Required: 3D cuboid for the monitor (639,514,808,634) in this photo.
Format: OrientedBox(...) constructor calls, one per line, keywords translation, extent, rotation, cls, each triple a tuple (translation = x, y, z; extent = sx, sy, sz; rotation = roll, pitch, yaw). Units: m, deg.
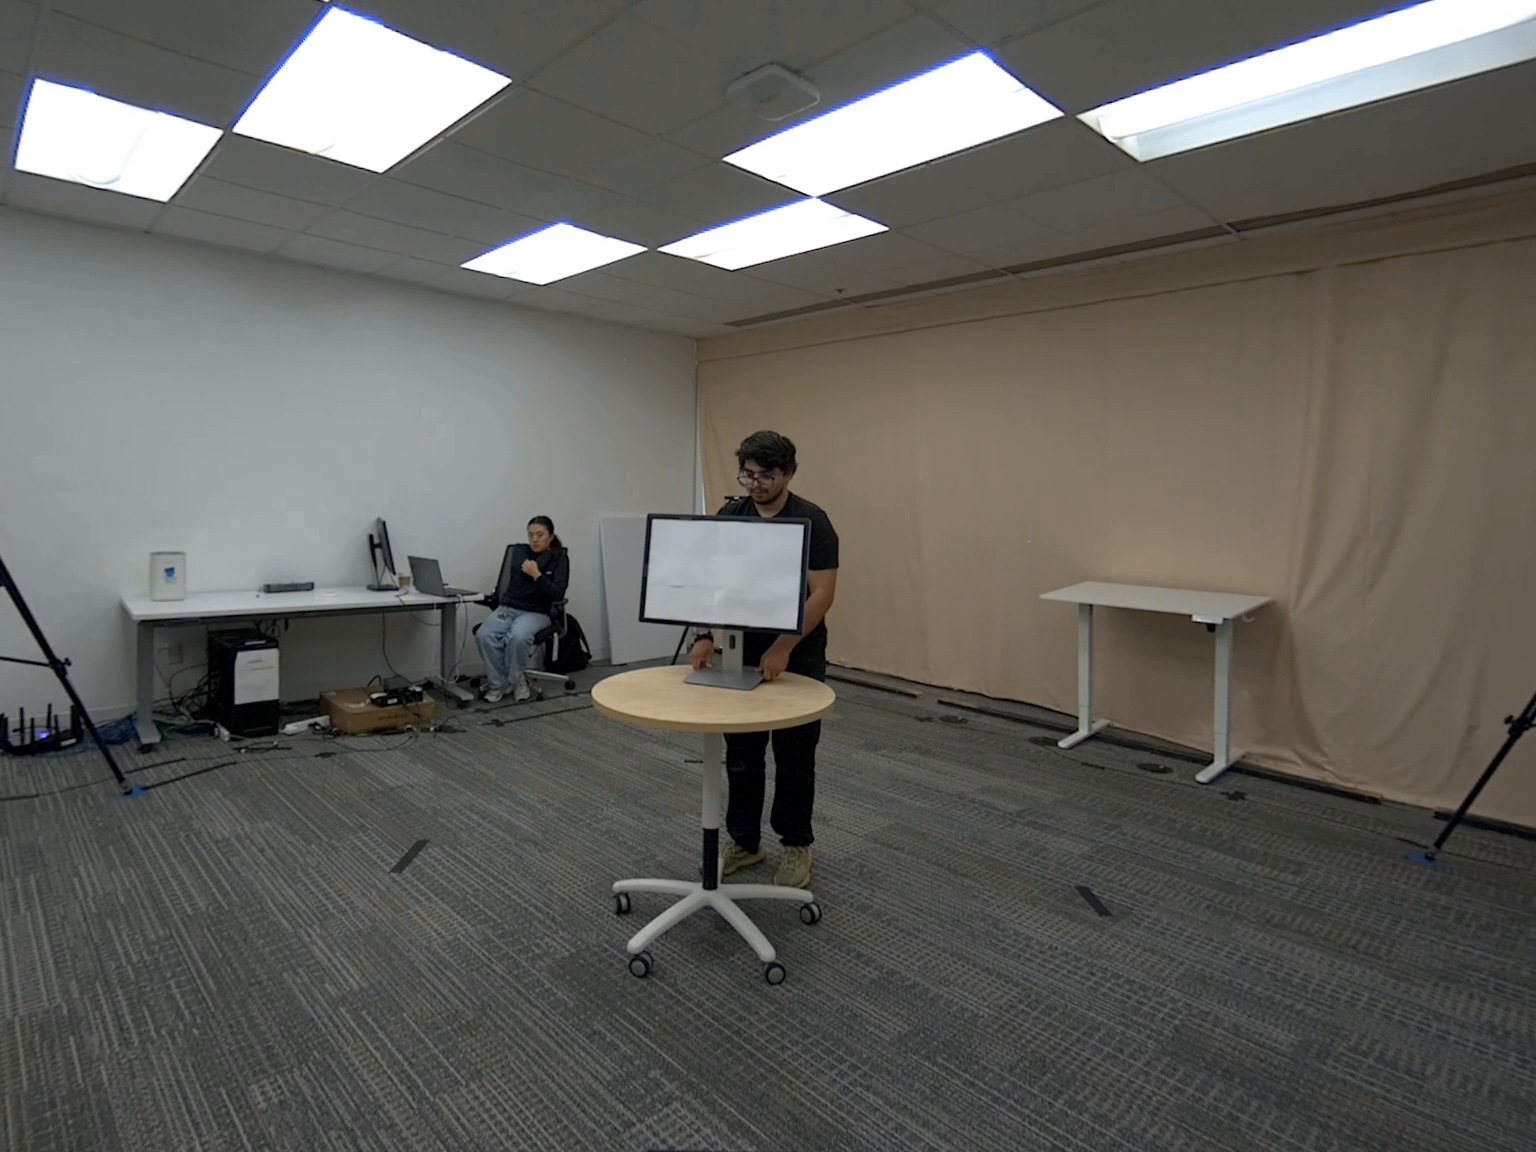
OrientedBox(translation=(-0.135, 0.076, 2.774), extent=(0.575, 0.553, 0.207), rotation=(3, 3, 21), cls="monitor")
